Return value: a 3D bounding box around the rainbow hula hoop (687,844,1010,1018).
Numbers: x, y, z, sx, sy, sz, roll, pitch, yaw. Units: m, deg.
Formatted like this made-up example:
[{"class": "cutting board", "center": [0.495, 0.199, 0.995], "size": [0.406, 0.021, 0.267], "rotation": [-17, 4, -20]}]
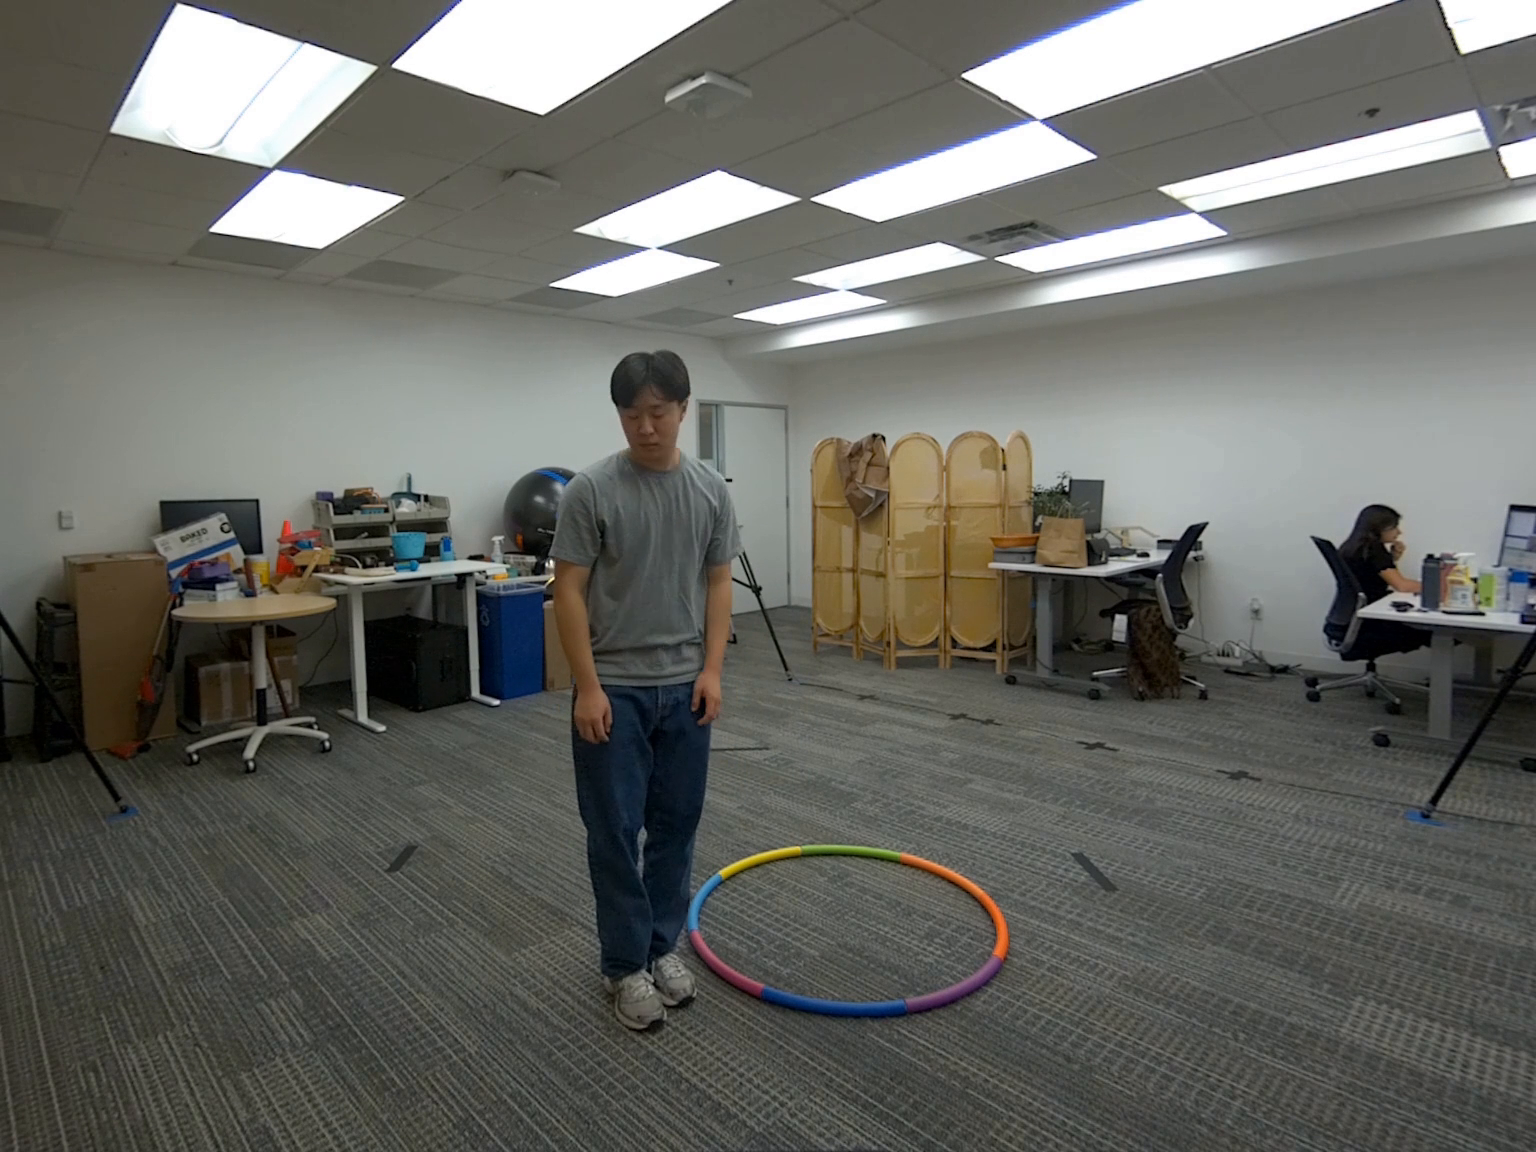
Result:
[{"class": "rainbow hula hoop", "center": [0.235, 1.060, 2.699], "size": [0.978, 0.035, 0.984], "rotation": [-2, 7, -2]}]
